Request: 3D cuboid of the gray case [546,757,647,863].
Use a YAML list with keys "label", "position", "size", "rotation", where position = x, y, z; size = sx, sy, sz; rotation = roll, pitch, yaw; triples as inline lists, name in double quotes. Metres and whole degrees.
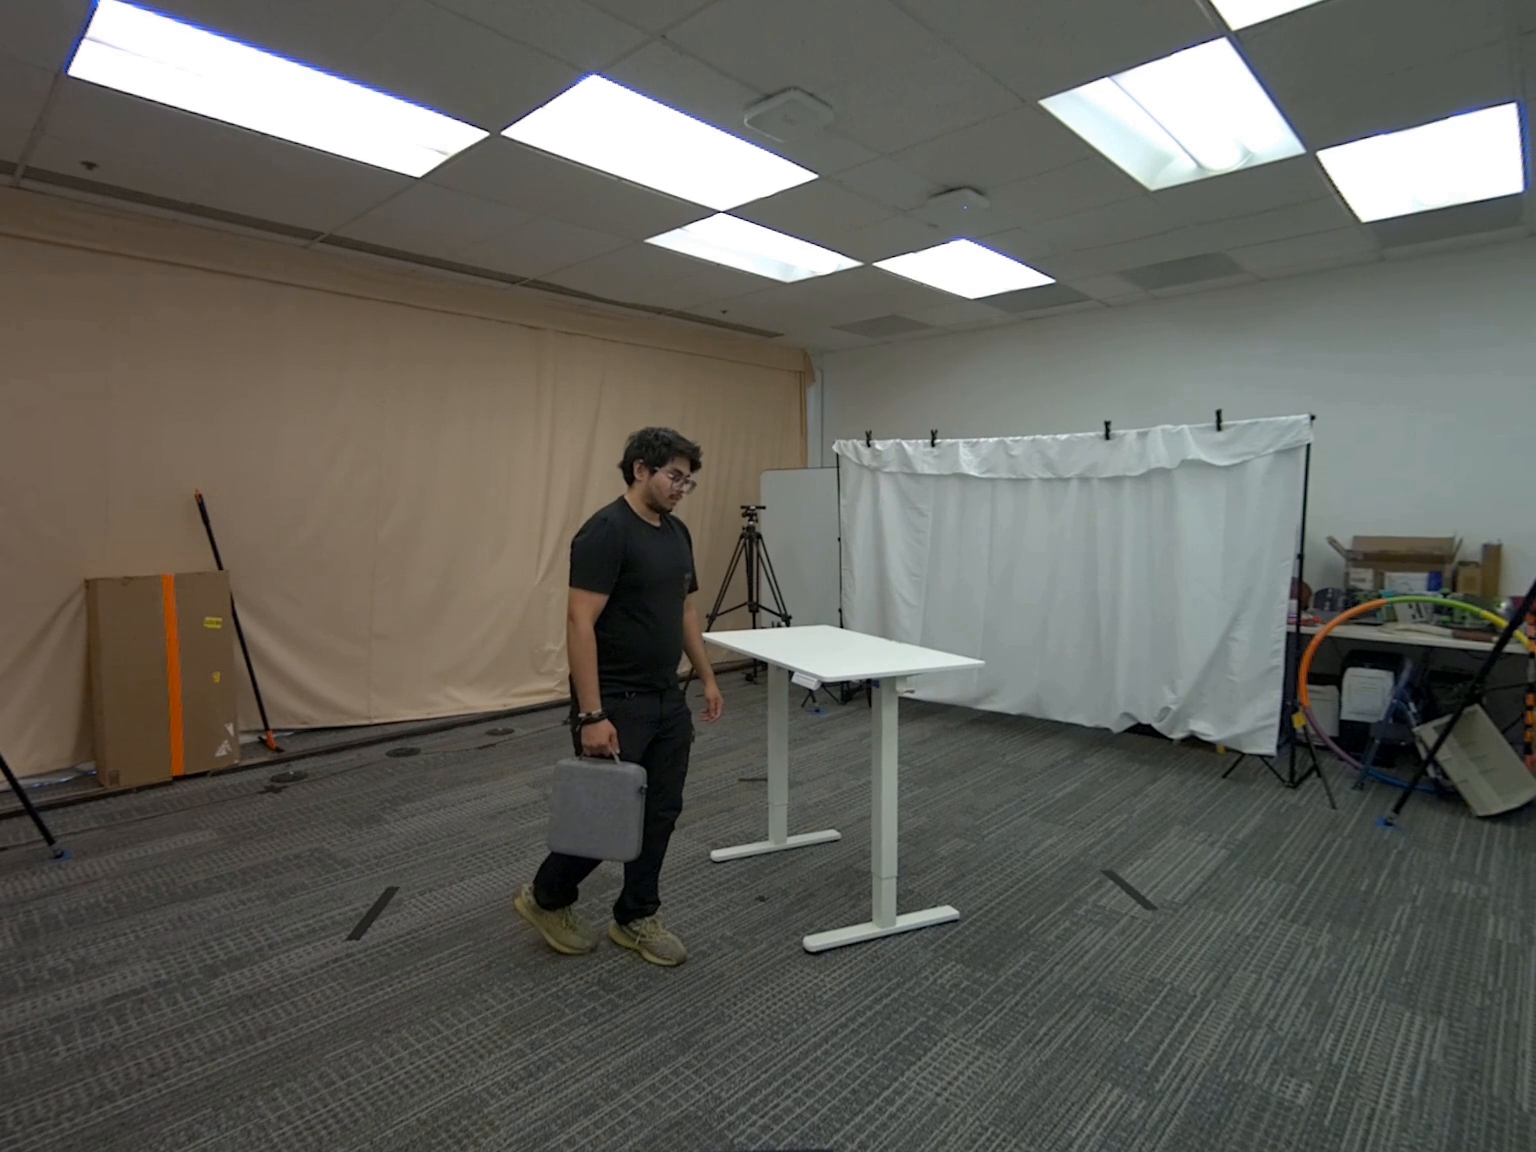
- label: "gray case"
  position: [-0.458, 0.630, 2.308]
  size: [0.261, 0.261, 0.102]
  rotation: [1, -6, 16]
